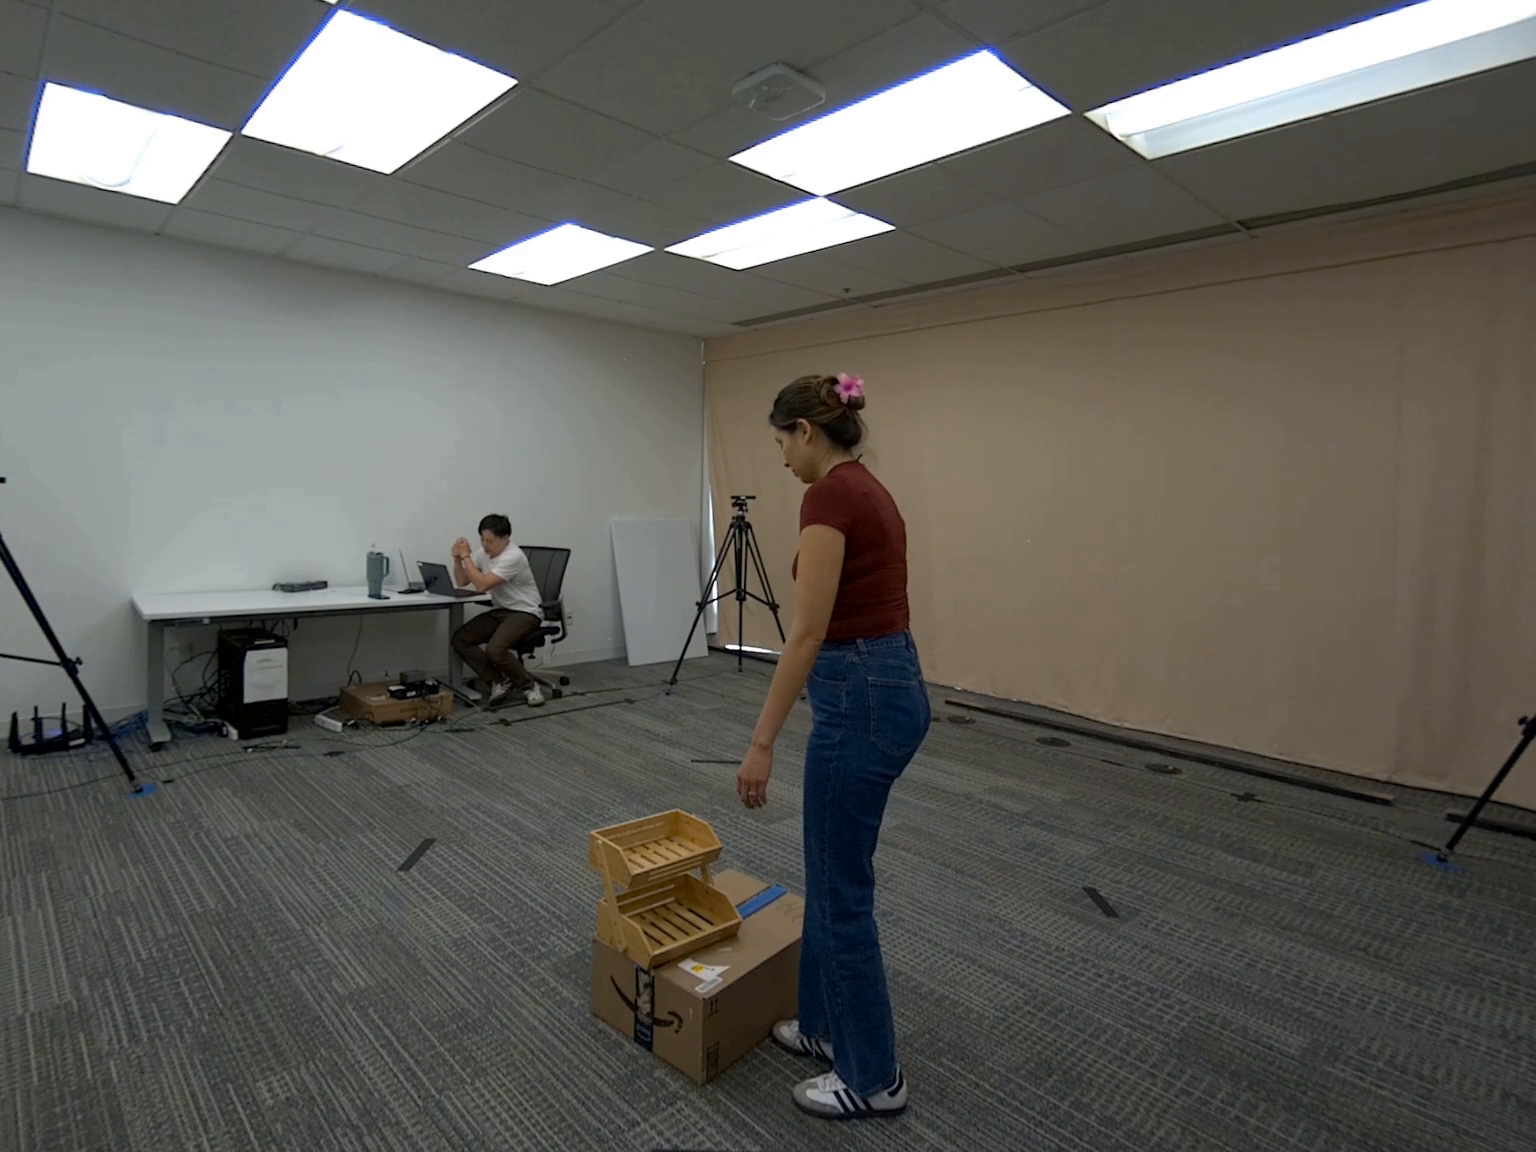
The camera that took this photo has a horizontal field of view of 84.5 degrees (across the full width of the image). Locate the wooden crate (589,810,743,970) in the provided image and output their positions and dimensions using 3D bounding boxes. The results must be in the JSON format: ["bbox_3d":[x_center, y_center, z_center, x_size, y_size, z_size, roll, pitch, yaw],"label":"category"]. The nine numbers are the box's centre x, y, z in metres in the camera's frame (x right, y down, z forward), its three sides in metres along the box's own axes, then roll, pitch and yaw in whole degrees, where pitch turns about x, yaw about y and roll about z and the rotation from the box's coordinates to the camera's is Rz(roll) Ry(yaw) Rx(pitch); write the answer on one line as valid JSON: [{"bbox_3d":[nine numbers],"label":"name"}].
[{"bbox_3d":[-0.281,0.831,2.266,0.317,0.273,0.309,-1,4,-42],"label":"wooden crate"}]
